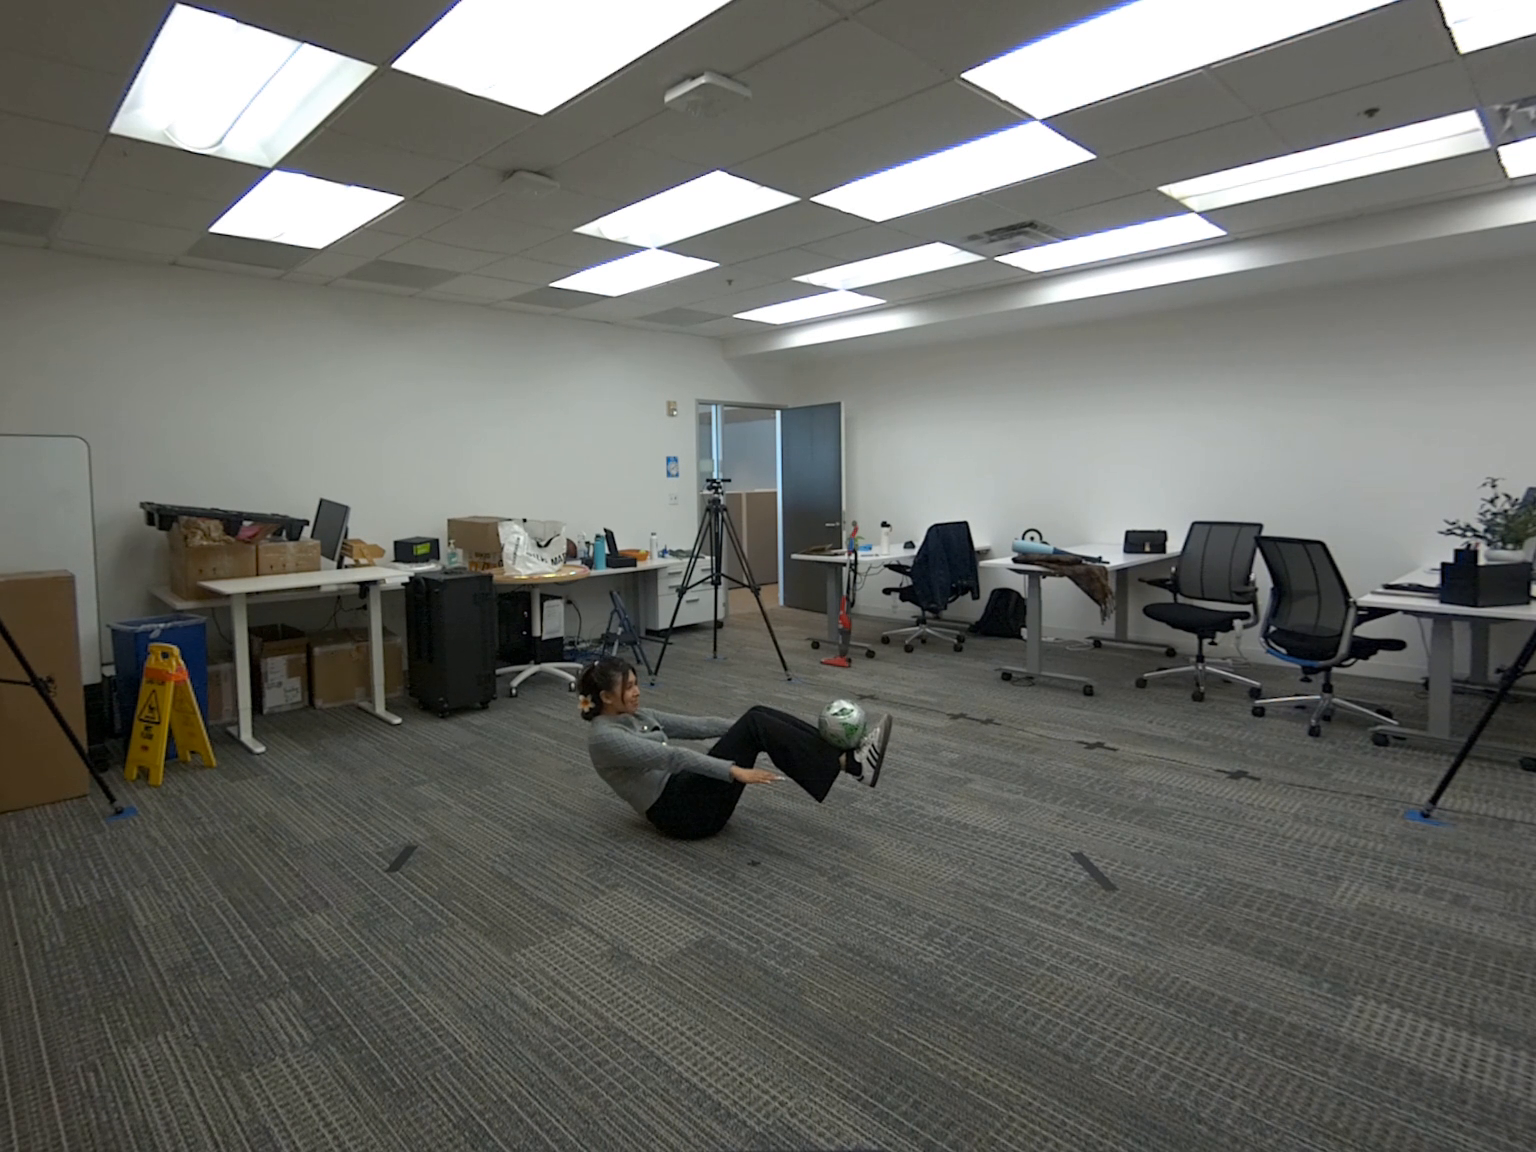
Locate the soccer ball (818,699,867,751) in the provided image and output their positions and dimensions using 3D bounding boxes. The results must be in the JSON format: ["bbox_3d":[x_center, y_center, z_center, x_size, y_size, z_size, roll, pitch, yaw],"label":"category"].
[{"bbox_3d":[0.286,0.567,3.251,0.187,0.187,0.188,-1,5,-2],"label":"soccer ball"}]
